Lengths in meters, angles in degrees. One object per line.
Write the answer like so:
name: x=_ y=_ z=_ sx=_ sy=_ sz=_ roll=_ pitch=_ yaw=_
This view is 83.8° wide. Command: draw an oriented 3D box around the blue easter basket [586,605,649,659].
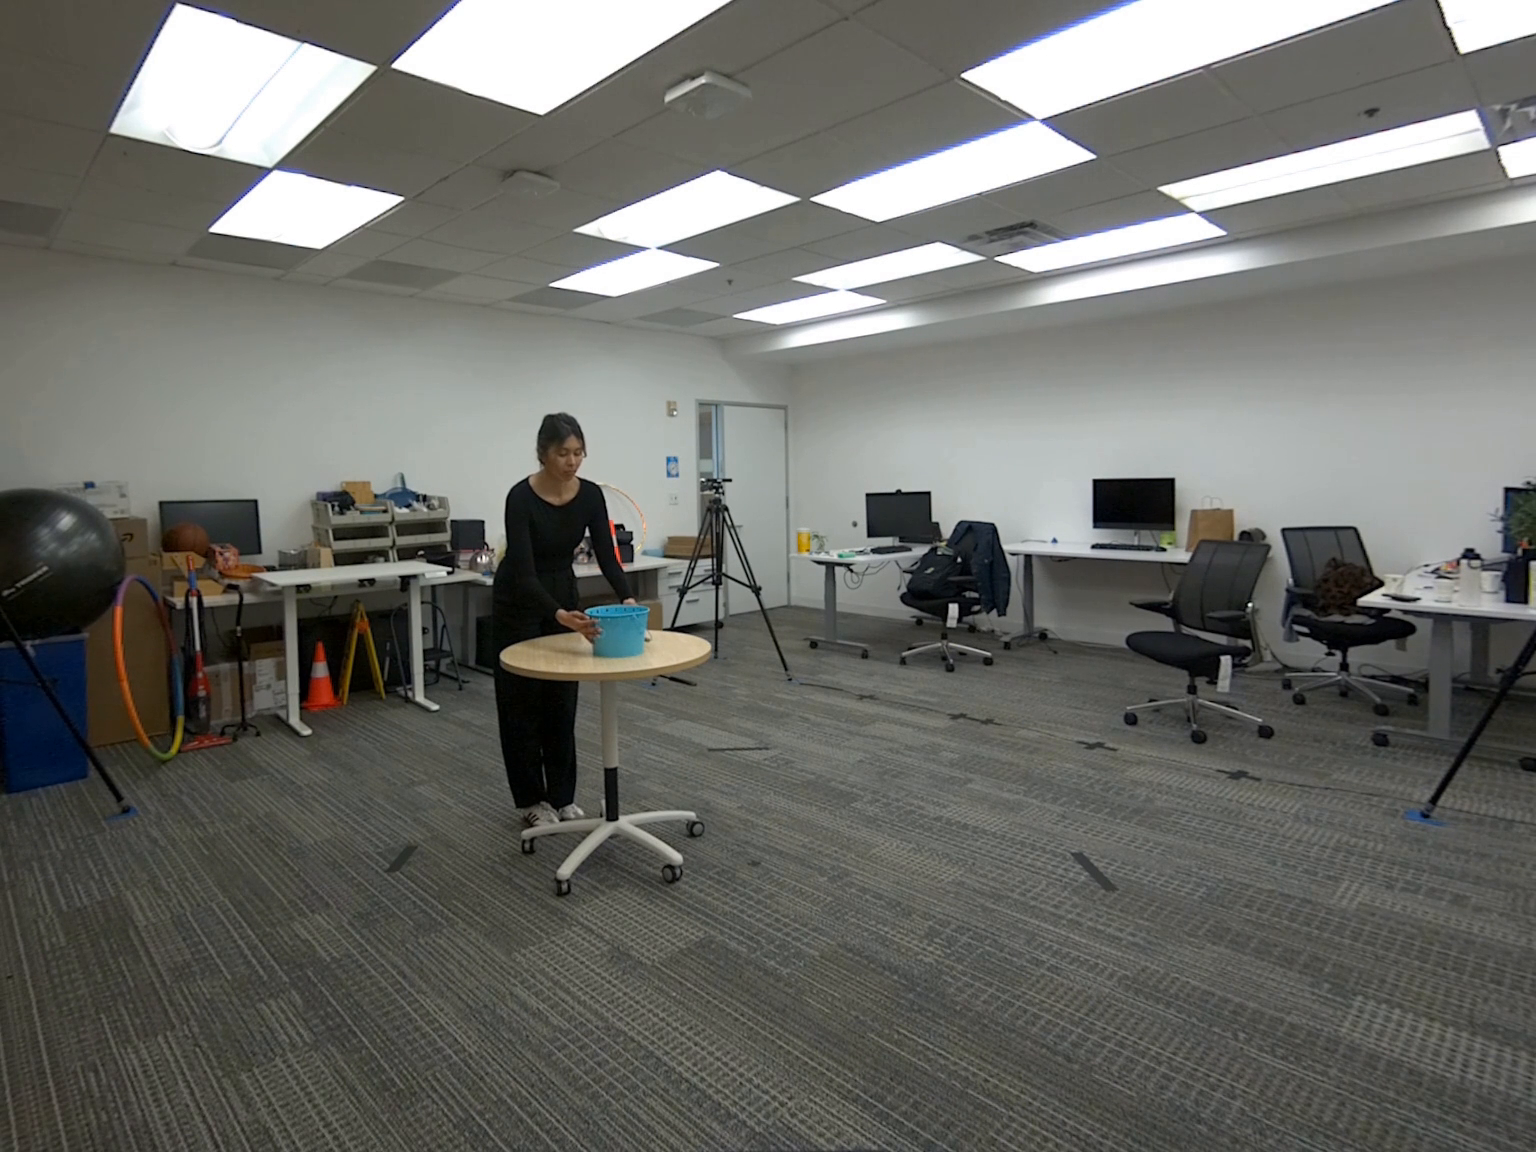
blue easter basket: x=-0.535 y=0.201 z=3.070 sx=0.243 sy=0.155 sz=0.245 roll=-1 pitch=6 yaw=-2
